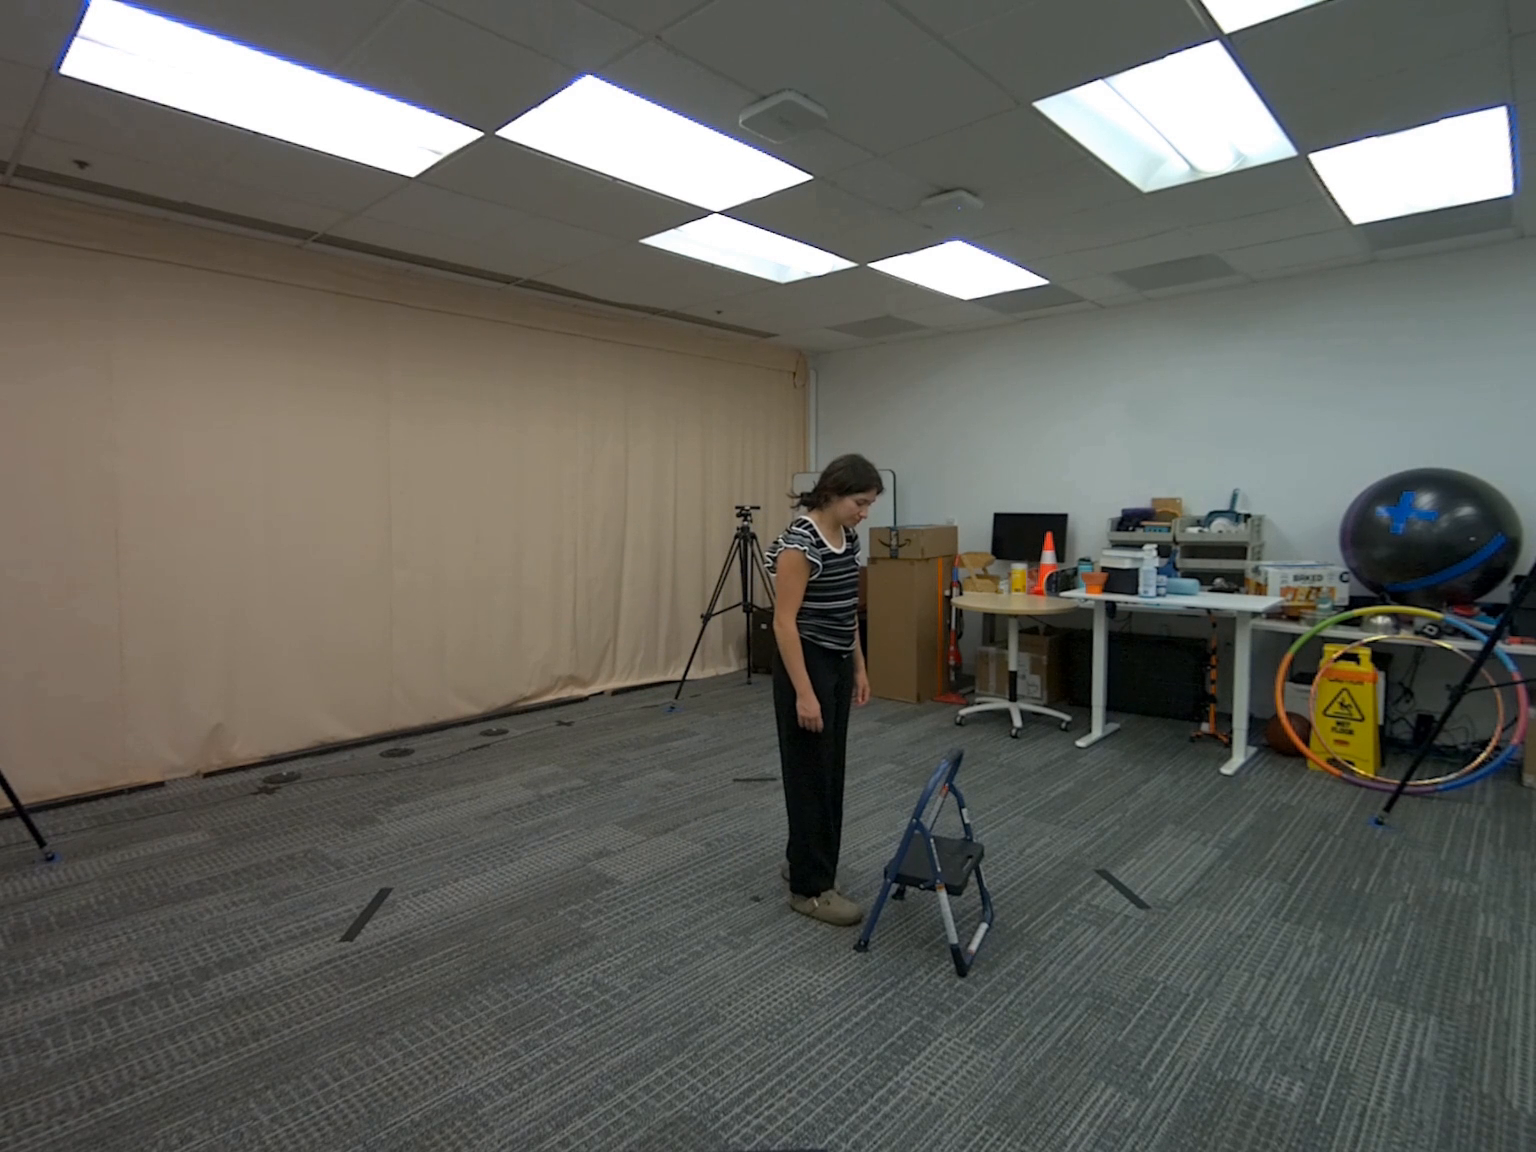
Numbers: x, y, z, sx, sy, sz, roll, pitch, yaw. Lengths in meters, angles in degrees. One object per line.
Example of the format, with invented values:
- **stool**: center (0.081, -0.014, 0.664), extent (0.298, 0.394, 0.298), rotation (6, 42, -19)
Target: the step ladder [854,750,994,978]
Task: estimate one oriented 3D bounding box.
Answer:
- **step ladder**: center (0.521, 0.863, 2.719), extent (0.359, 0.605, 0.420), rotation (1, 4, 27)
